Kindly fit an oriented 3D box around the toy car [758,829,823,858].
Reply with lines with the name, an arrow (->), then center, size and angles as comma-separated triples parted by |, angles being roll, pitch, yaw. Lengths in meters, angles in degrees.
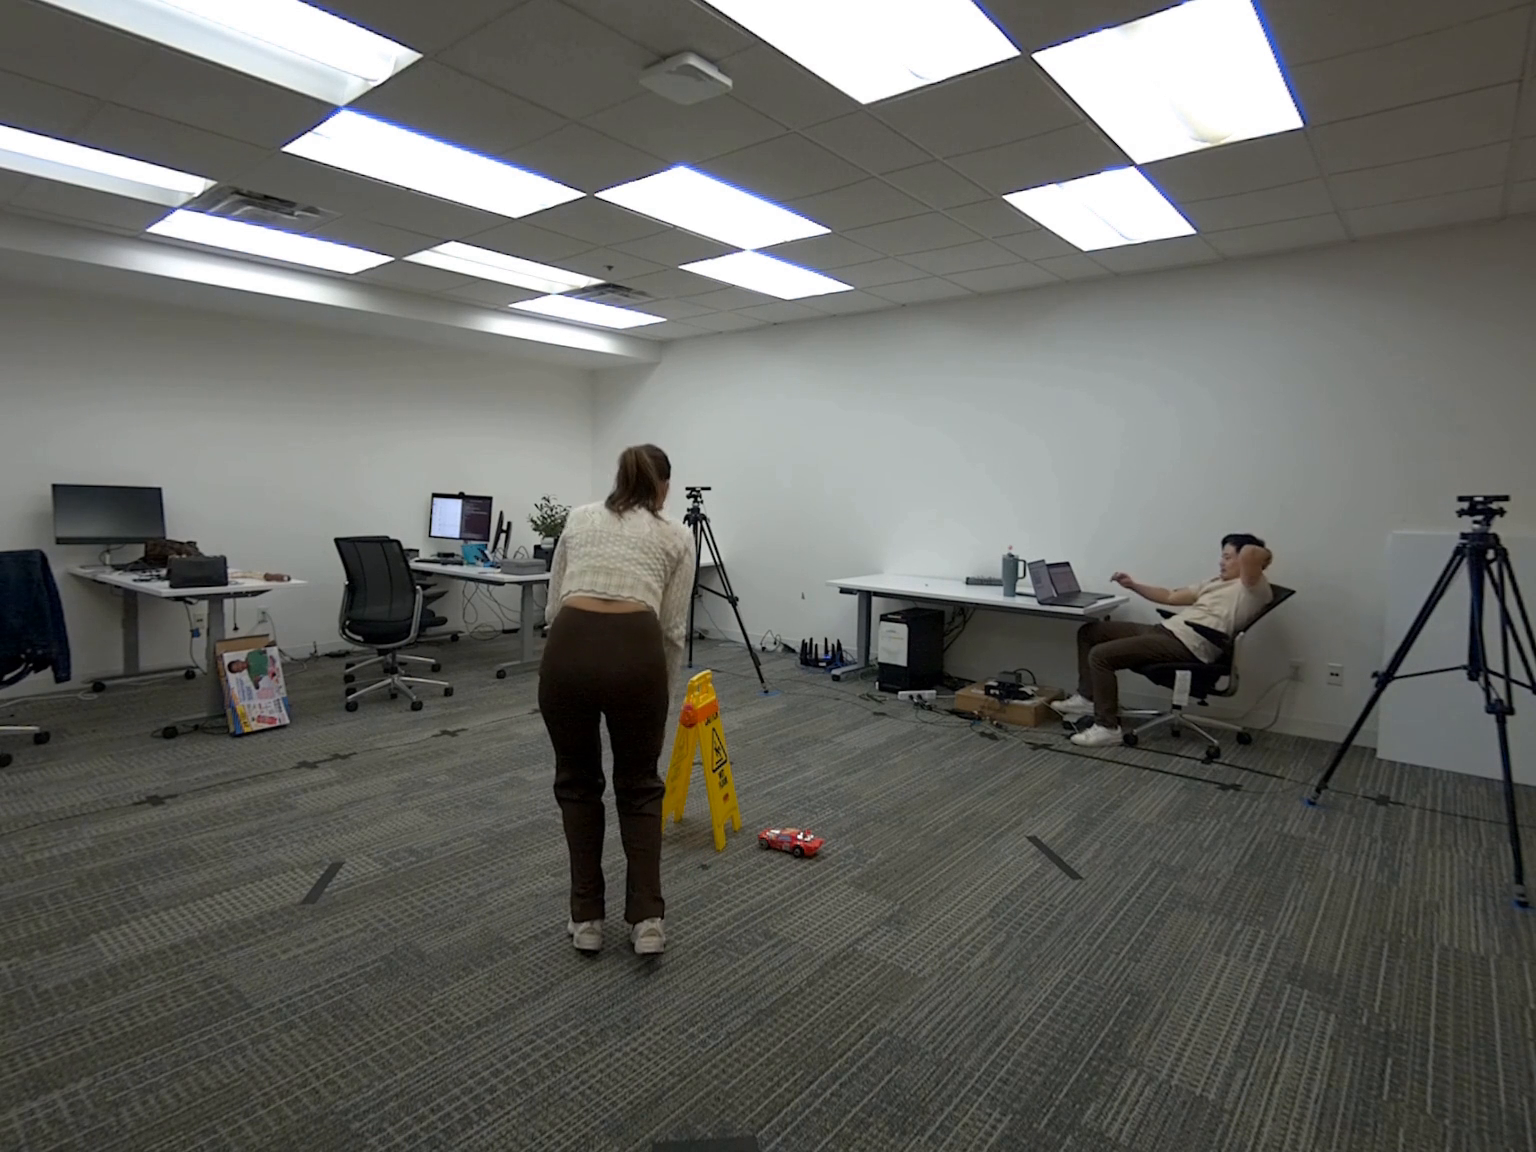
toy car -> 0.087, 1.025, 3.278 | 0.260, 0.083, 0.127 | -8, -1, 30
